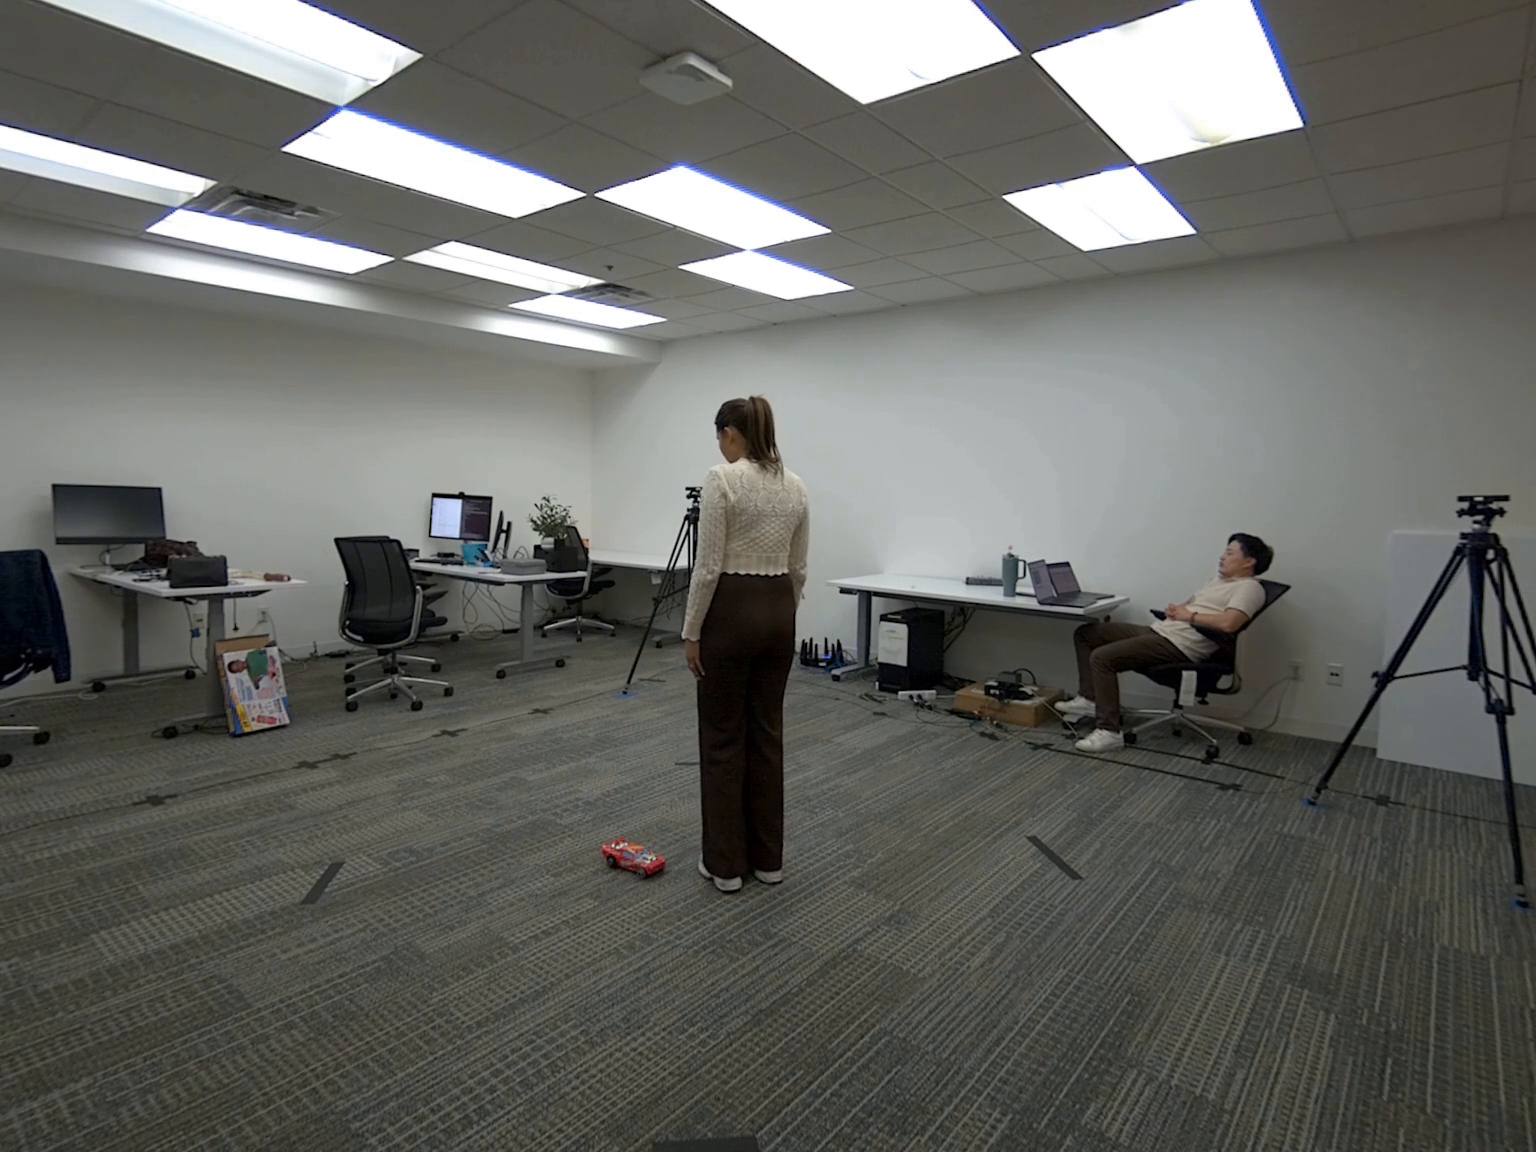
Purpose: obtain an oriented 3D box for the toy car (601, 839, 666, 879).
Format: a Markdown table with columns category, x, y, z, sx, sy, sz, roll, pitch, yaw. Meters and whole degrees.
| category | x | y | z | sx | sy | sz | roll | pitch | yaw |
| --- | --- | --- | --- | --- | --- | --- | --- | --- | --- |
| toy car | -0.508 | 1.034 | 3.115 | 0.264 | 0.082 | 0.126 | 17 | 12 | 34 |
